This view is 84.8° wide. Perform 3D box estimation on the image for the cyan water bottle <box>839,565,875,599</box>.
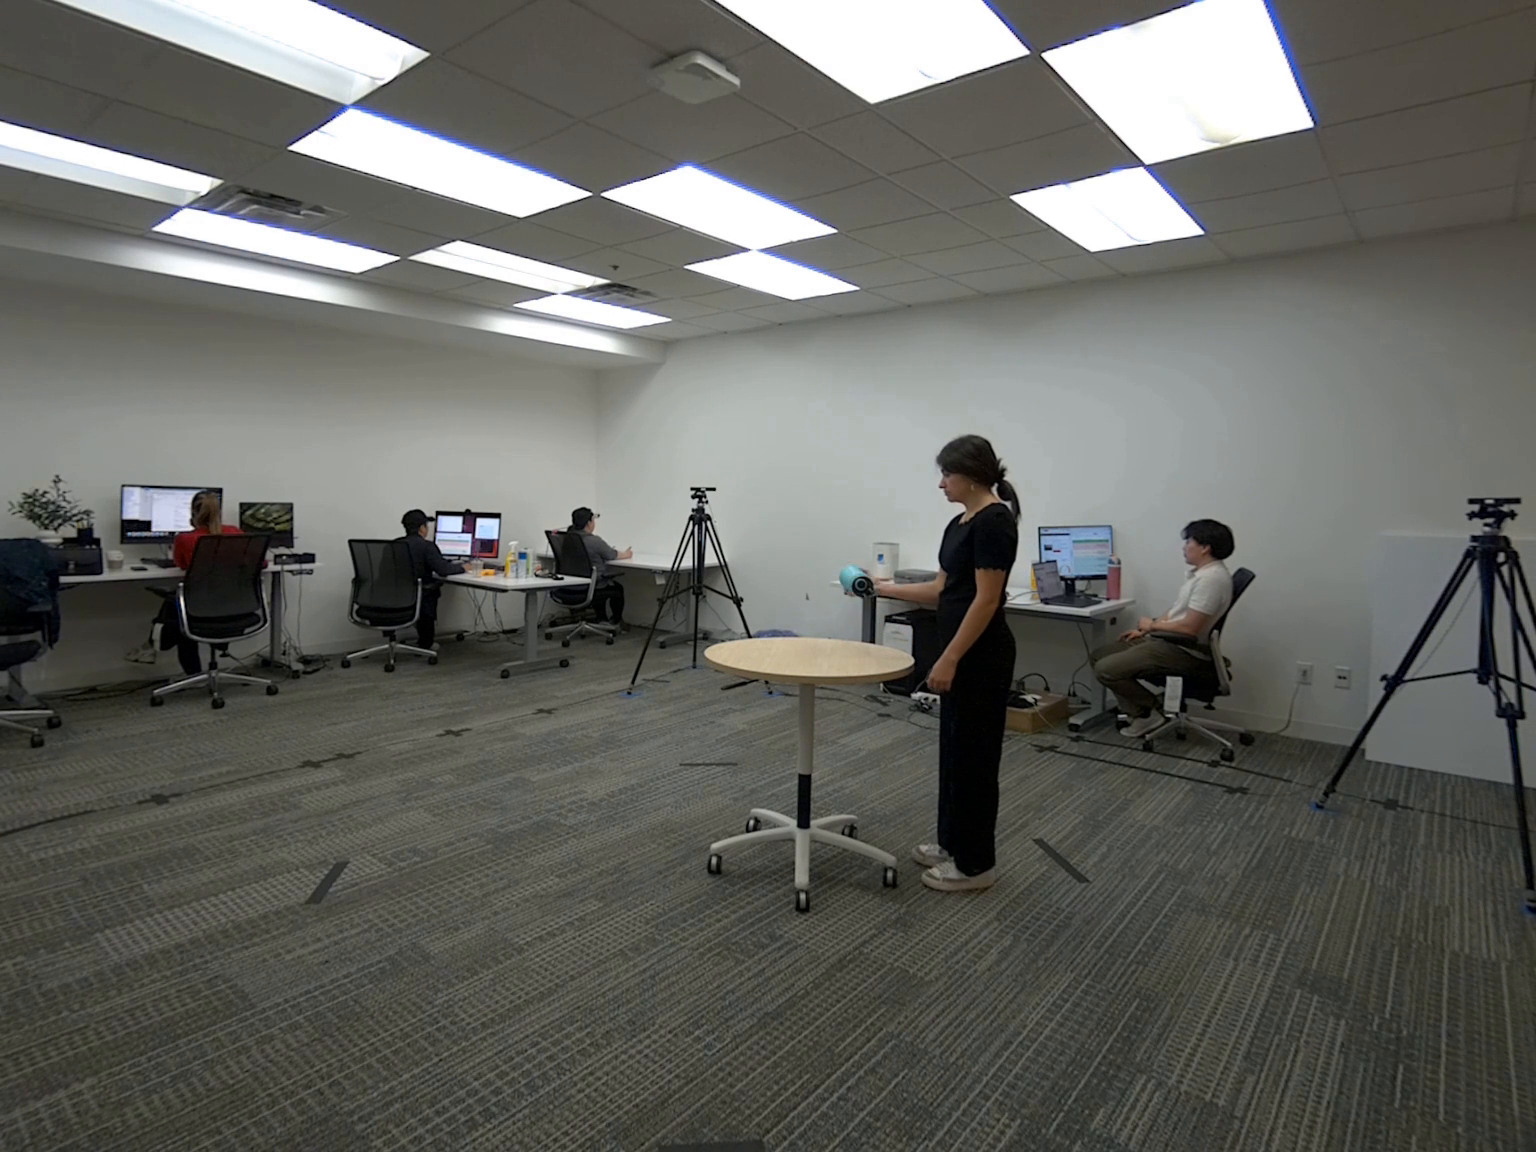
[{"bbox_3d":[0.327,0.020,3.207,0.092,0.092,0.287,0,8,-7],"label":"cyan water bottle"}]
